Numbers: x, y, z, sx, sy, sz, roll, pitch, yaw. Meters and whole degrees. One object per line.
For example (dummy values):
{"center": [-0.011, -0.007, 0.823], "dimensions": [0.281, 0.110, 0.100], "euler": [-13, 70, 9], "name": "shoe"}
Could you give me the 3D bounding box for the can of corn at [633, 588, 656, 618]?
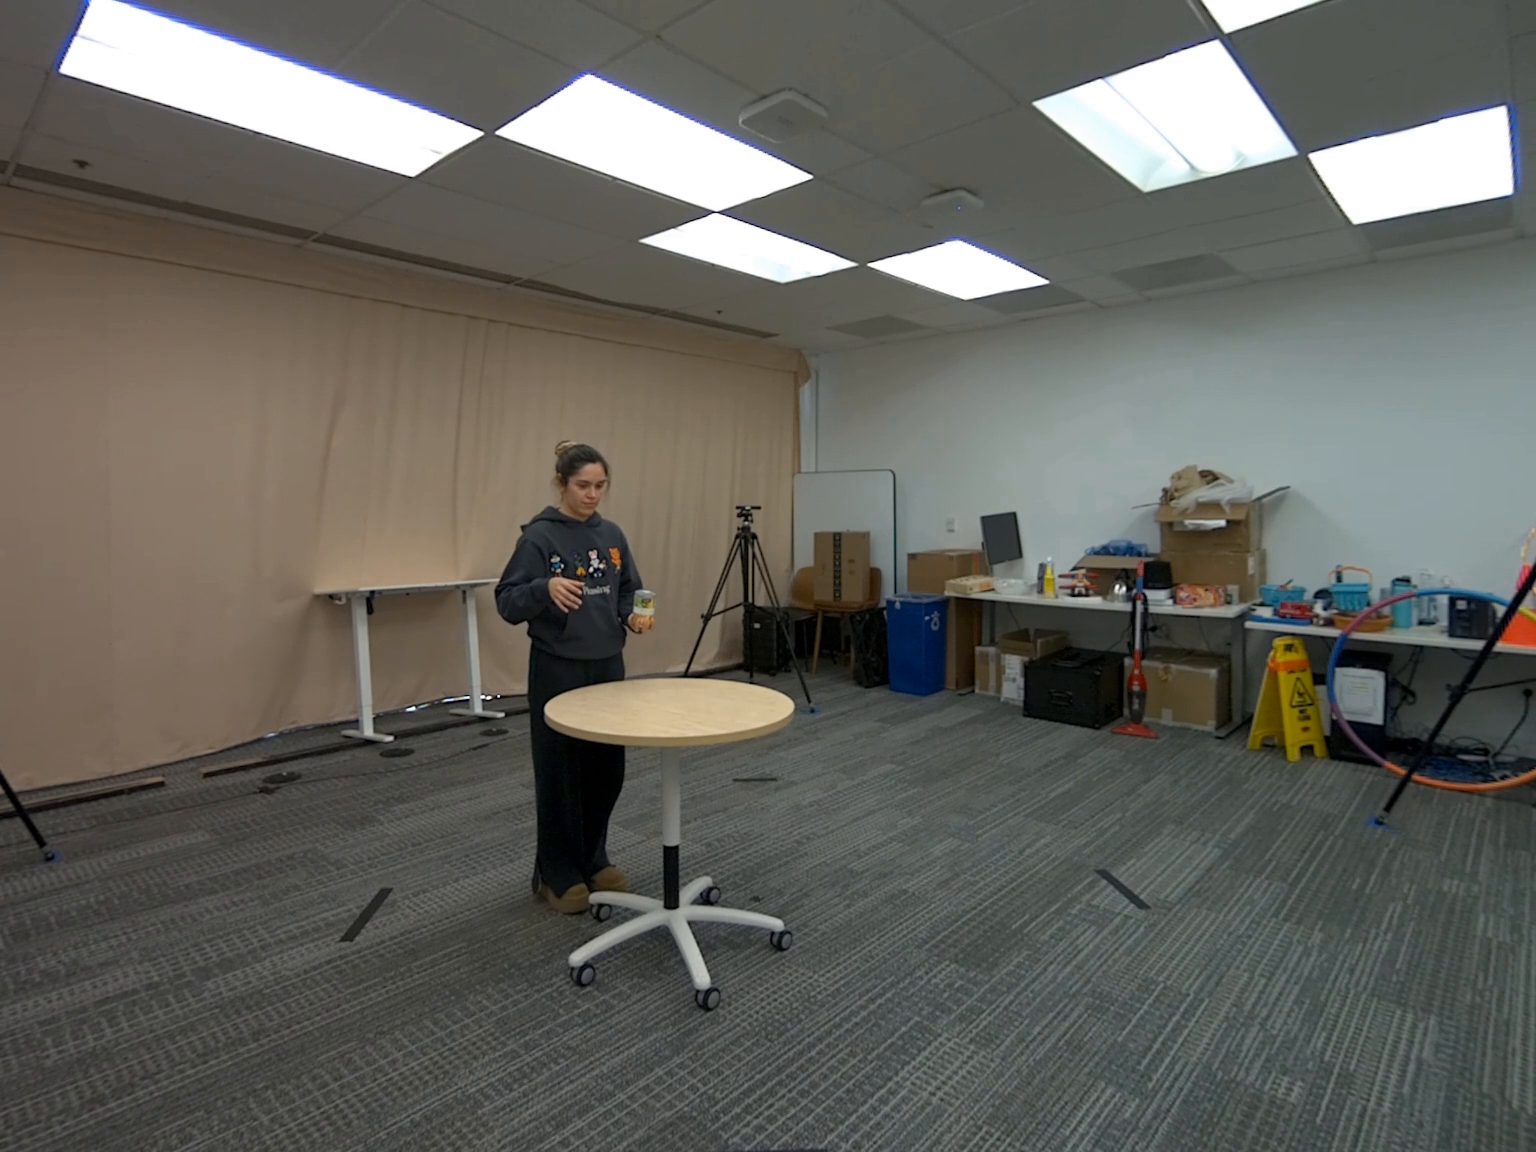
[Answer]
{"center": [-0.423, 0.114, 2.869], "dimensions": [0.074, 0.110, 0.075], "euler": [6, 11, -3], "name": "can of corn"}
